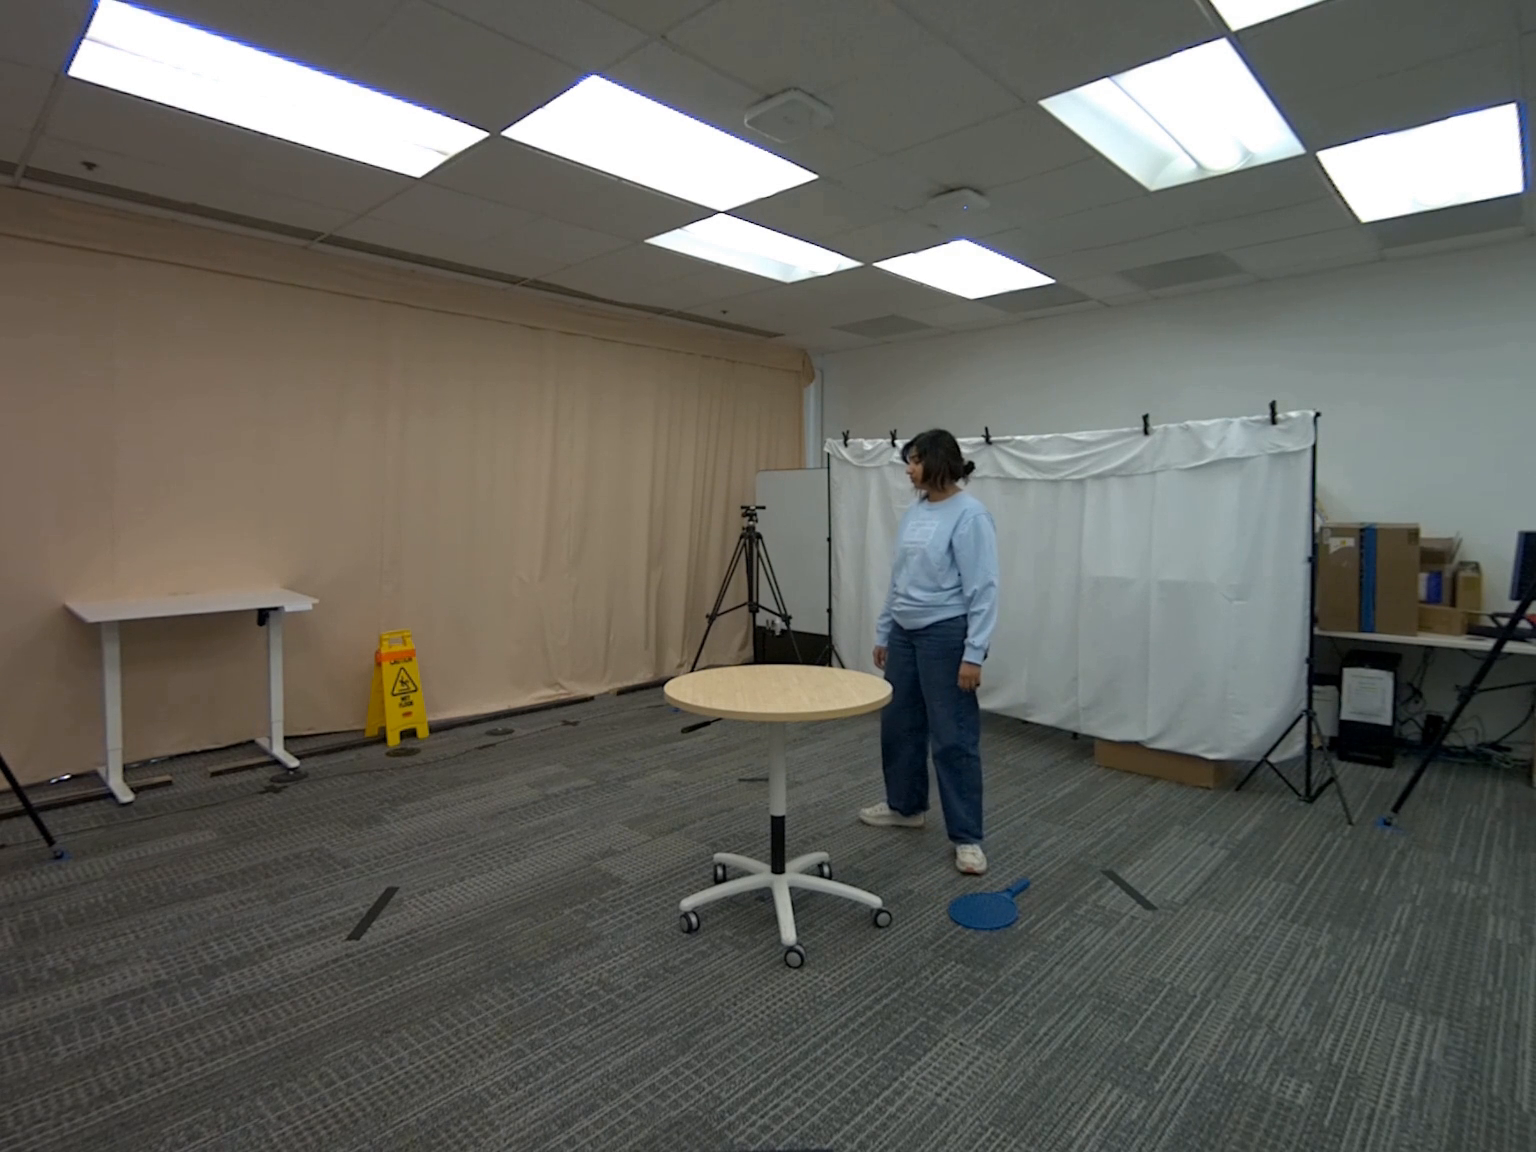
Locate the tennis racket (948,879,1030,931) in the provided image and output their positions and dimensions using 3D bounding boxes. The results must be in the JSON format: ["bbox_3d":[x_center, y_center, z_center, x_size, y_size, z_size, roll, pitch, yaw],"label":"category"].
[{"bbox_3d":[0.784,1.127,2.933,0.221,0.031,0.420,6,9,44],"label":"tennis racket"}]
